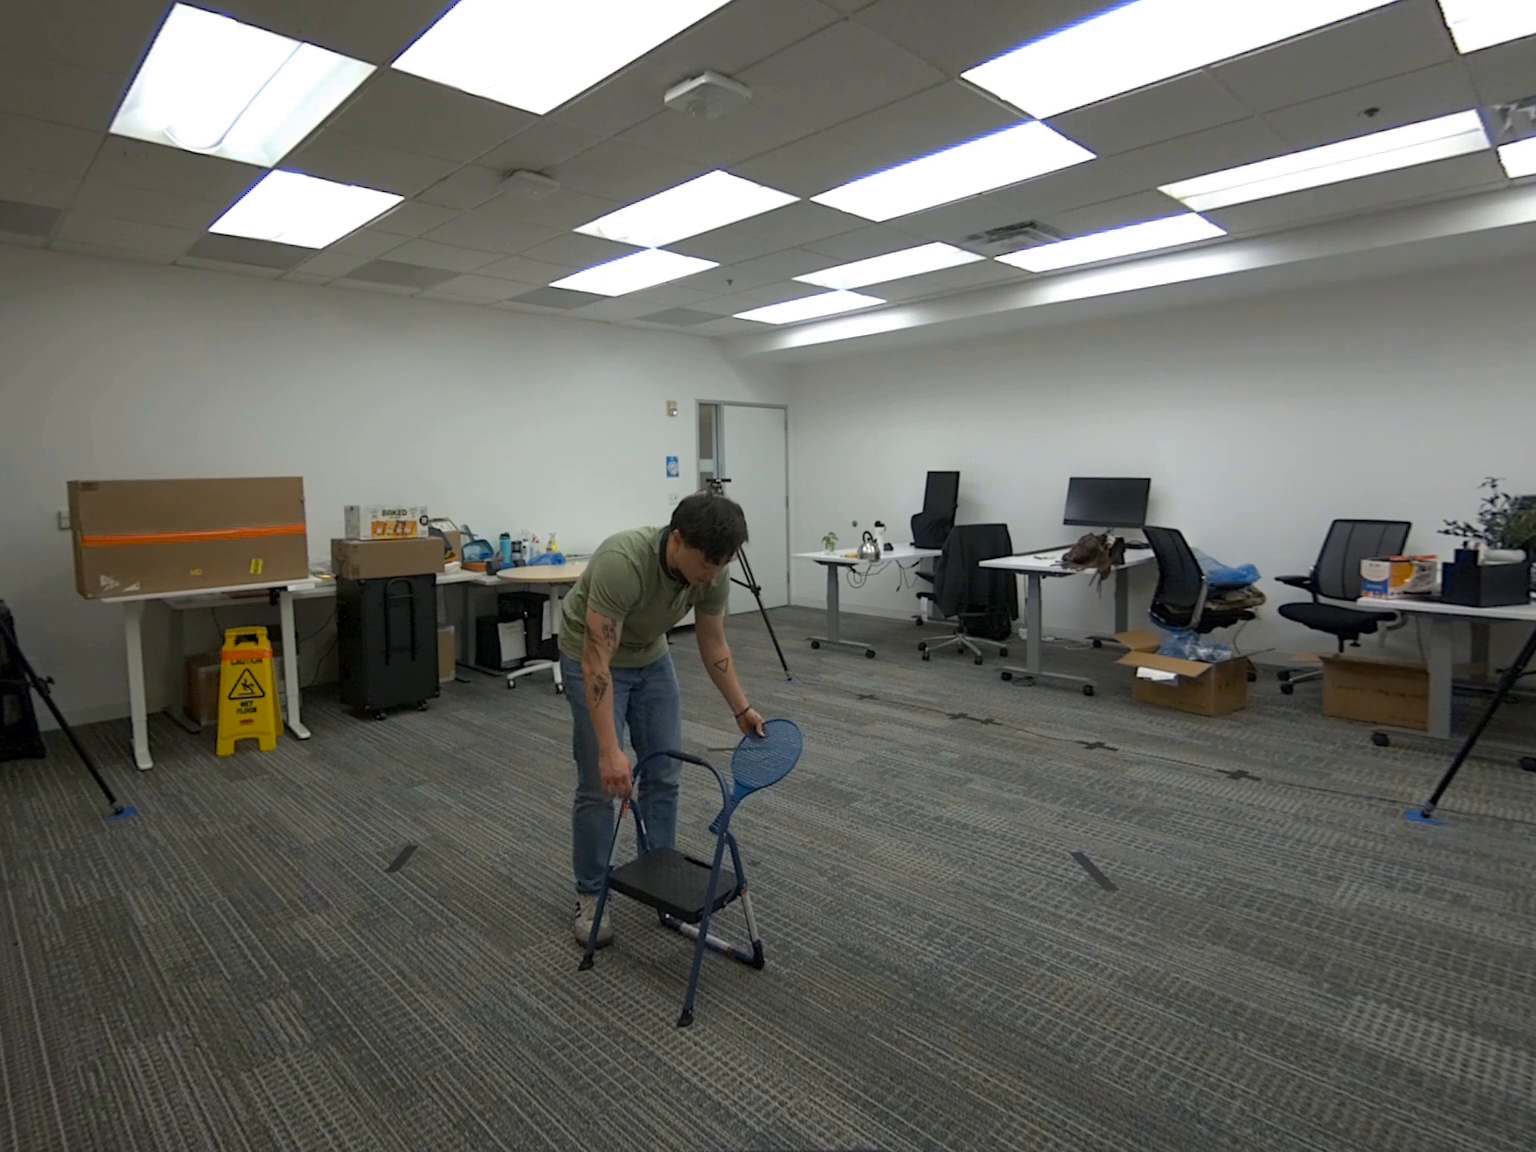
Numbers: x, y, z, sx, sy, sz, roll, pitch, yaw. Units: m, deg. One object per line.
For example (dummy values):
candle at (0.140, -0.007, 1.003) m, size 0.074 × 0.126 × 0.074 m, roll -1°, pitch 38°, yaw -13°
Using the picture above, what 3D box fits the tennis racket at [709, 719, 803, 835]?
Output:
tennis racket at (-0.058, 0.613, 2.615) m, size 0.221 × 0.031 × 0.433 m, roll 13°, pitch 50°, yaw 37°
